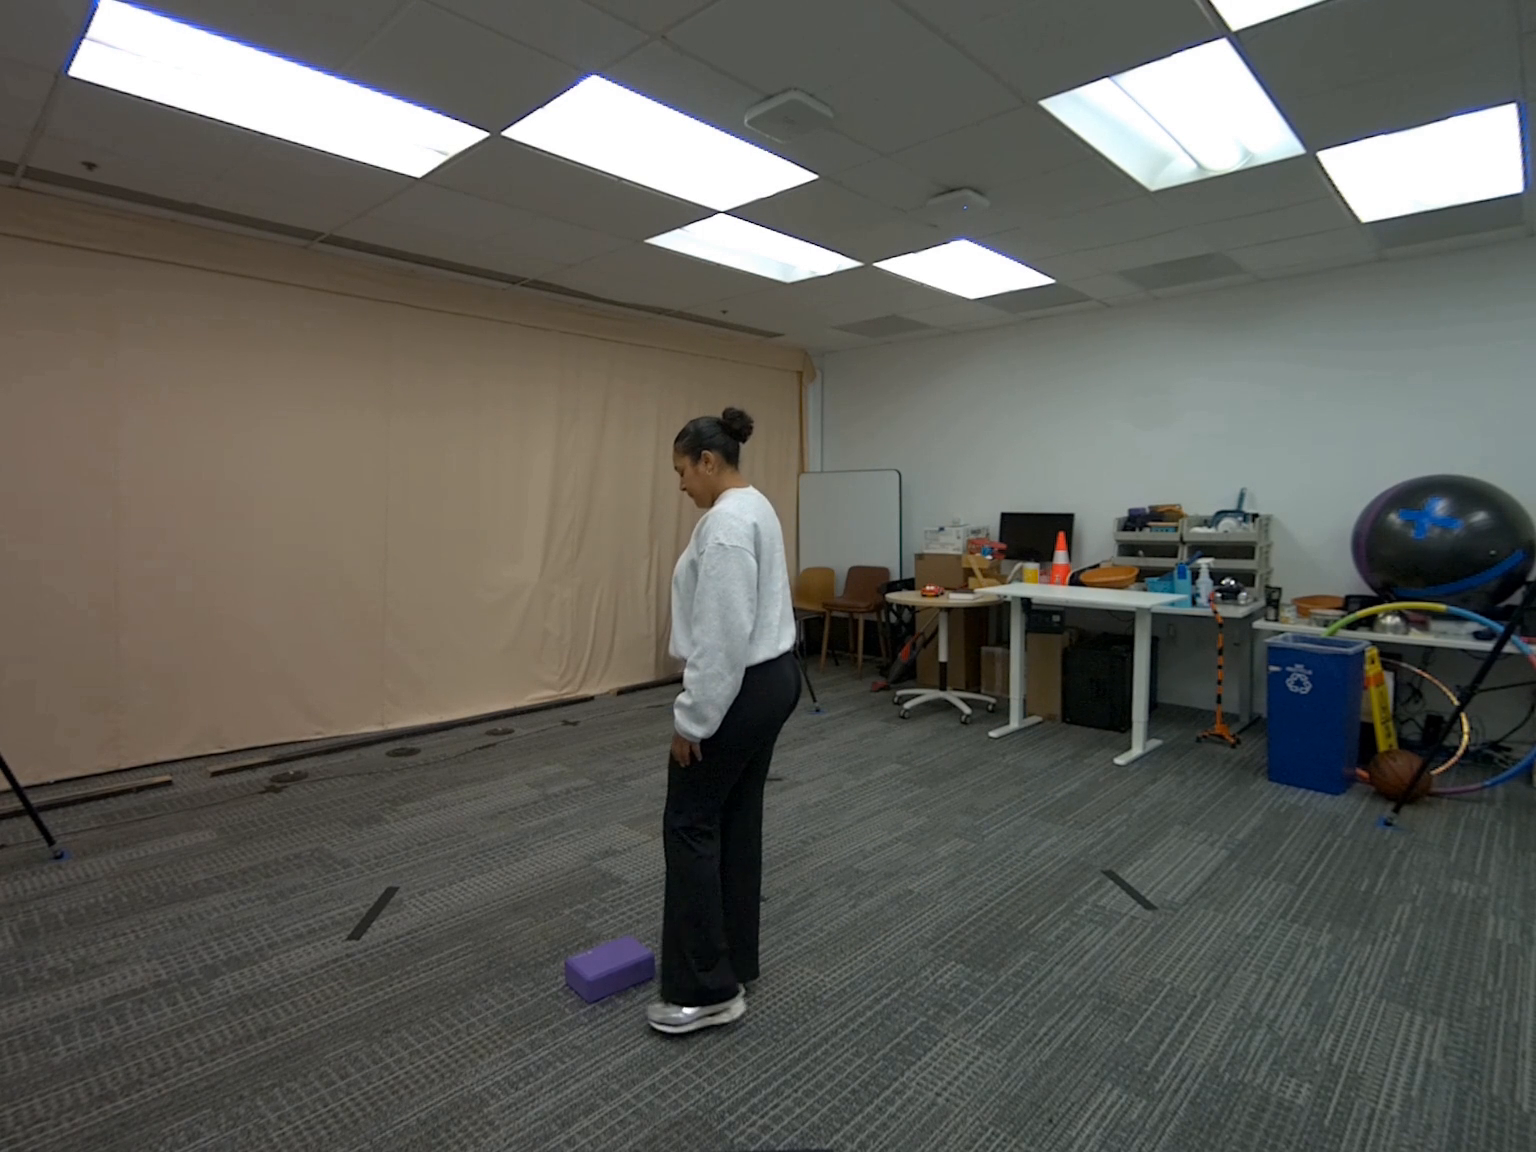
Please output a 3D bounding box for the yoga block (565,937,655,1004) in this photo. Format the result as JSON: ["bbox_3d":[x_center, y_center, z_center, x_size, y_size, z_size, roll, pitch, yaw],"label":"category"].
[{"bbox_3d":[-0.463,1.152,2.469,0.222,0.076,0.154,-4,5,-38],"label":"yoga block"}]
